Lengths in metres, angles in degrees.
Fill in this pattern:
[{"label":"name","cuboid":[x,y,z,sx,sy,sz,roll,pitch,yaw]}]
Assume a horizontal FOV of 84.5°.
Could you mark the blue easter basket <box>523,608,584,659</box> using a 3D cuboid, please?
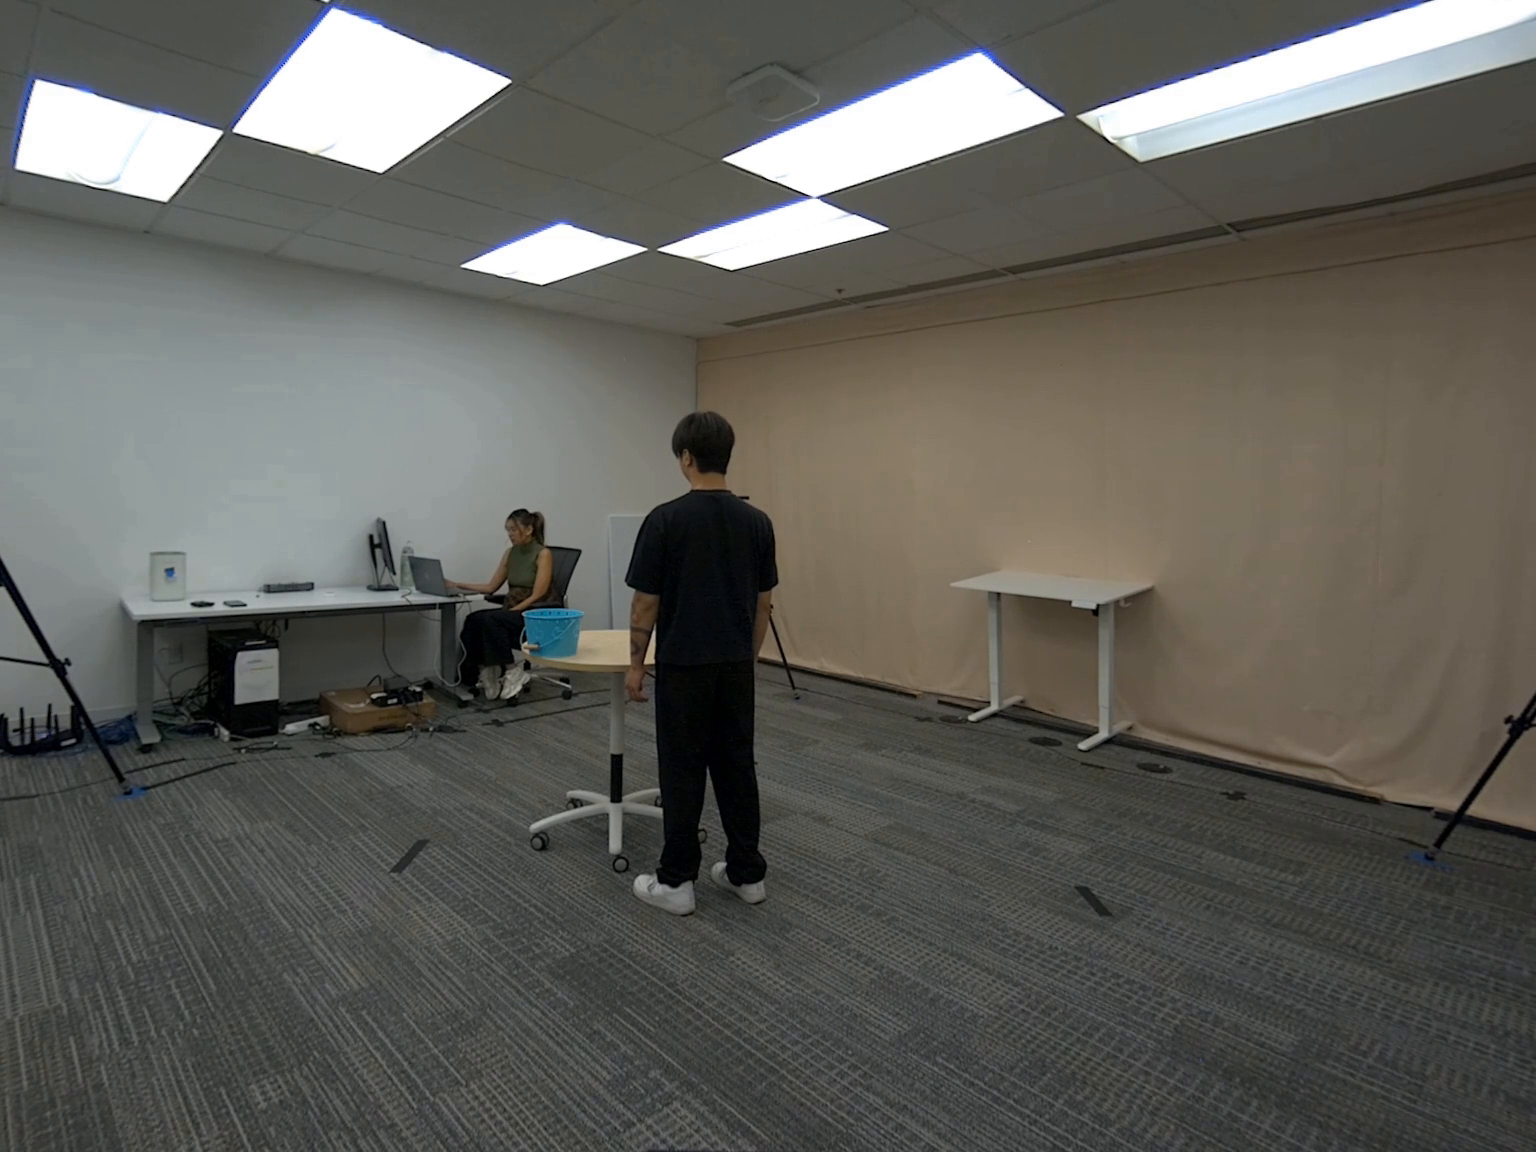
[{"label":"blue easter basket","cuboid":[-0.851,0.224,3.220,0.243,0.155,0.244,1,4,-1]}]
